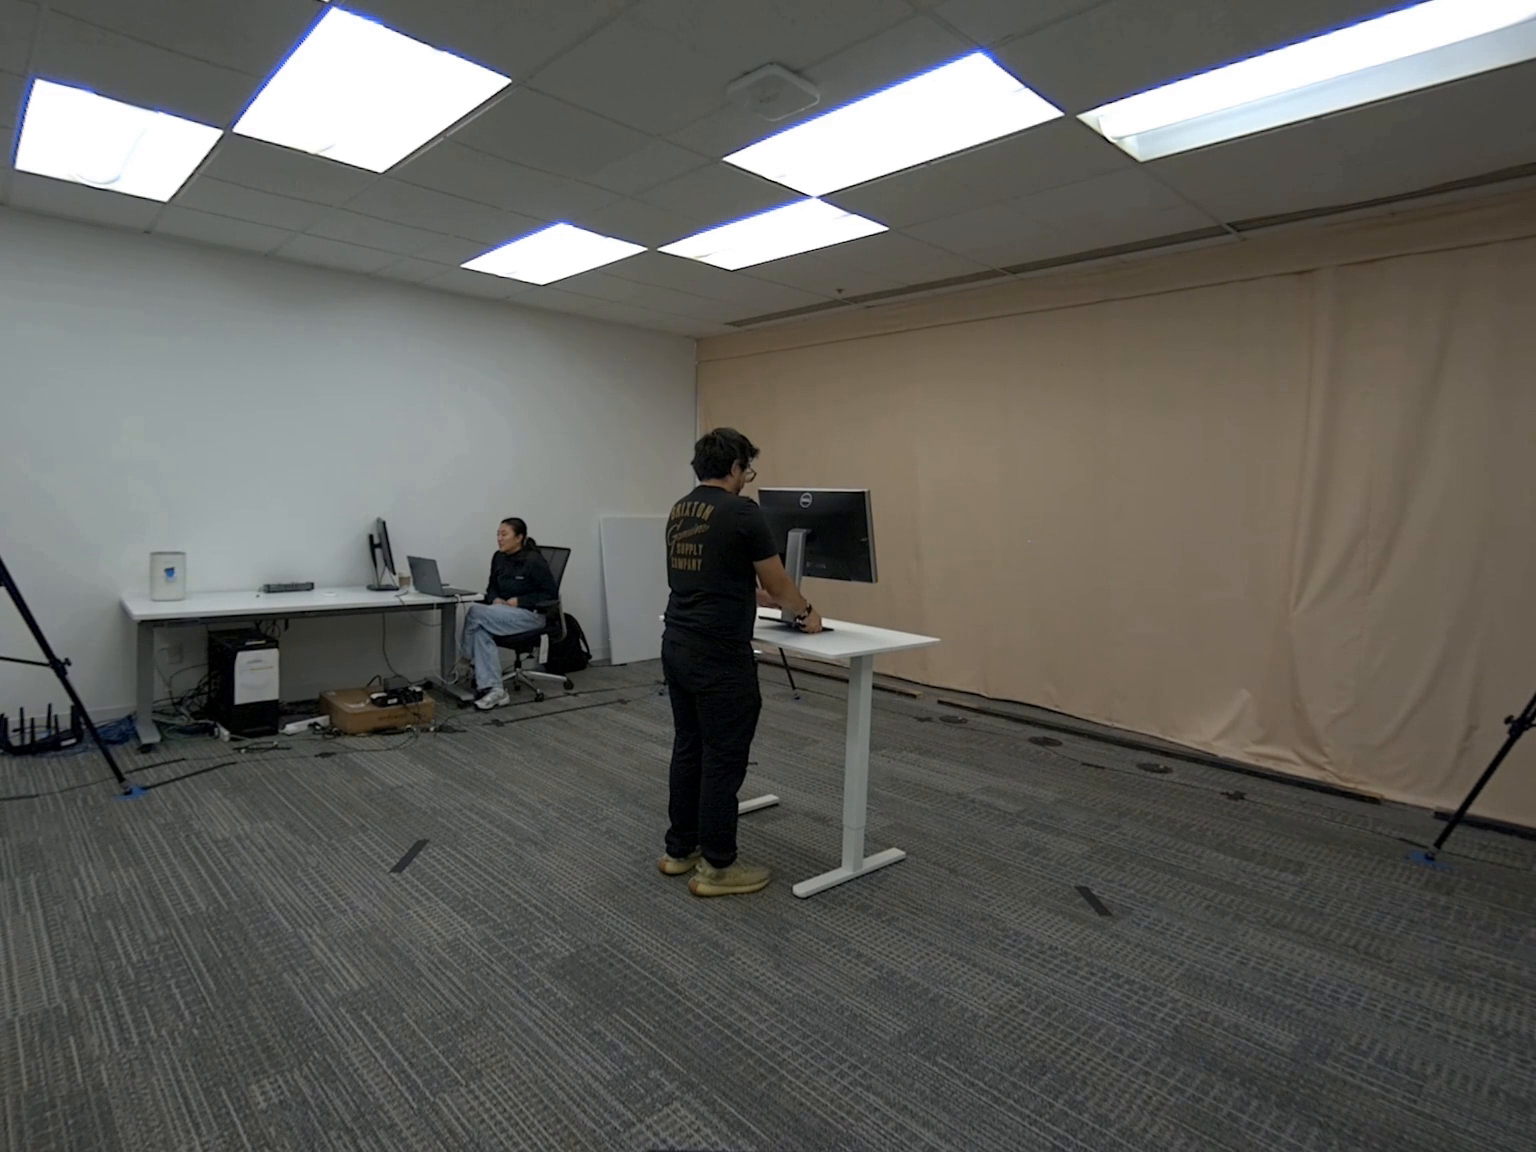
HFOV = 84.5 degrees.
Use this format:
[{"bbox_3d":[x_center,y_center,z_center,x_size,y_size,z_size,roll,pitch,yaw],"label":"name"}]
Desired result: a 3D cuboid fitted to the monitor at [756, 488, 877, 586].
[{"bbox_3d":[0.132,-0.072,3.317,0.580,0.552,0.205,5,7,44],"label":"monitor"}]
